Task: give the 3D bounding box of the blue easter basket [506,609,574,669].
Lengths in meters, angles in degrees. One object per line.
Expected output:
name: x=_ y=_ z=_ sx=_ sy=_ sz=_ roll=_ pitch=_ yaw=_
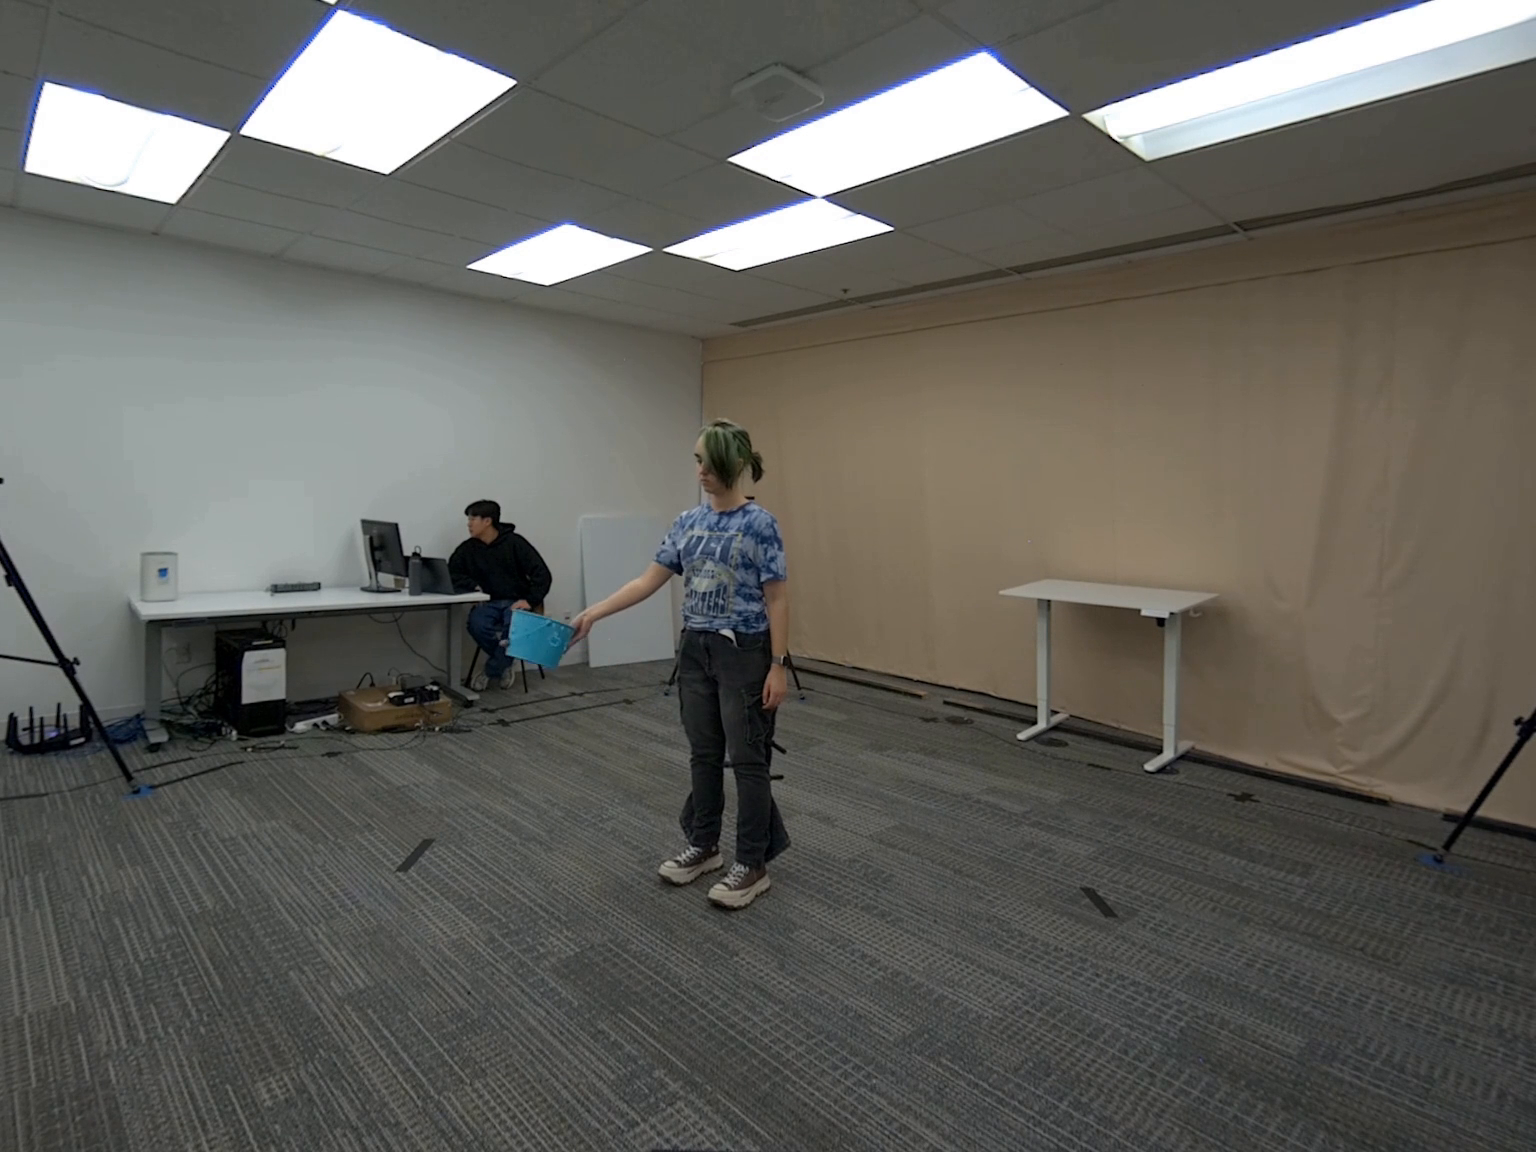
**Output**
blue easter basket: x=-0.802 y=0.222 z=2.920 sx=0.244 sy=0.157 sz=0.241 roll=16 pitch=-12 yaw=2
